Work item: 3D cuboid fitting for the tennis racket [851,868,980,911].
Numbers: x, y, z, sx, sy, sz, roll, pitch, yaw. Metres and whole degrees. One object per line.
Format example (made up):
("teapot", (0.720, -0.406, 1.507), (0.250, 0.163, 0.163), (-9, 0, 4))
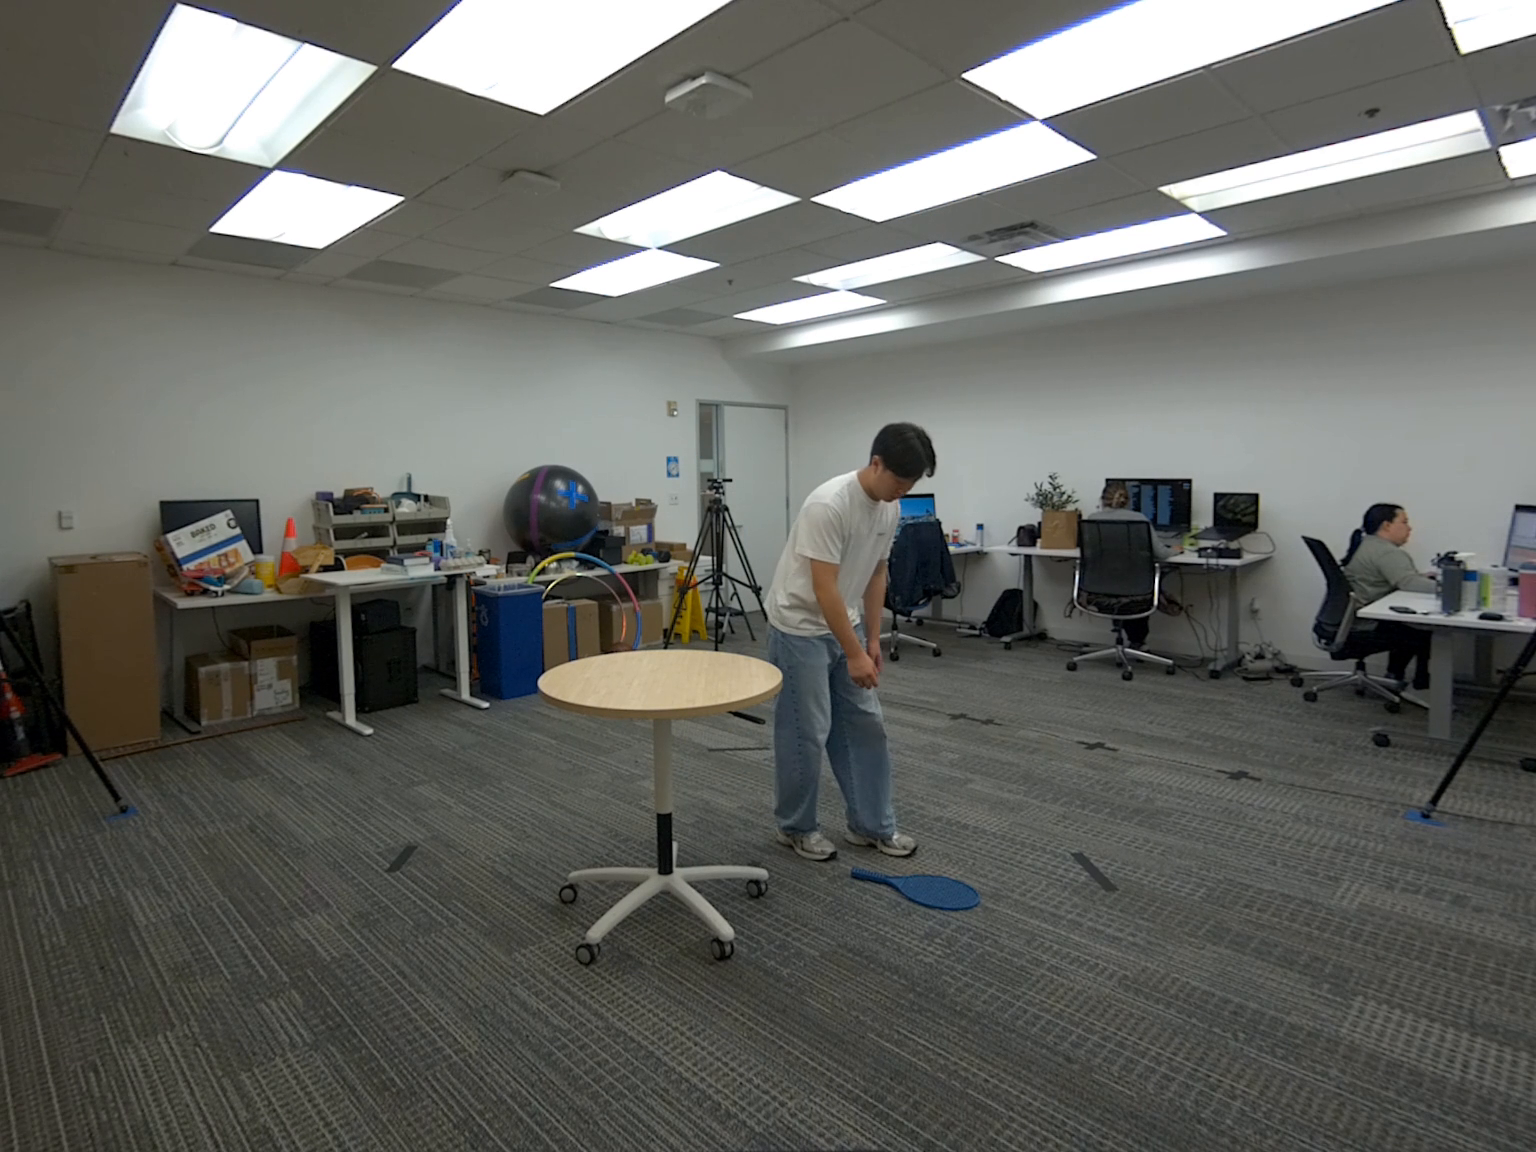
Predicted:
("tennis racket", (0.495, 1.049, 2.890), (0.444, 0.031, 0.209), (4, 7, 27))
